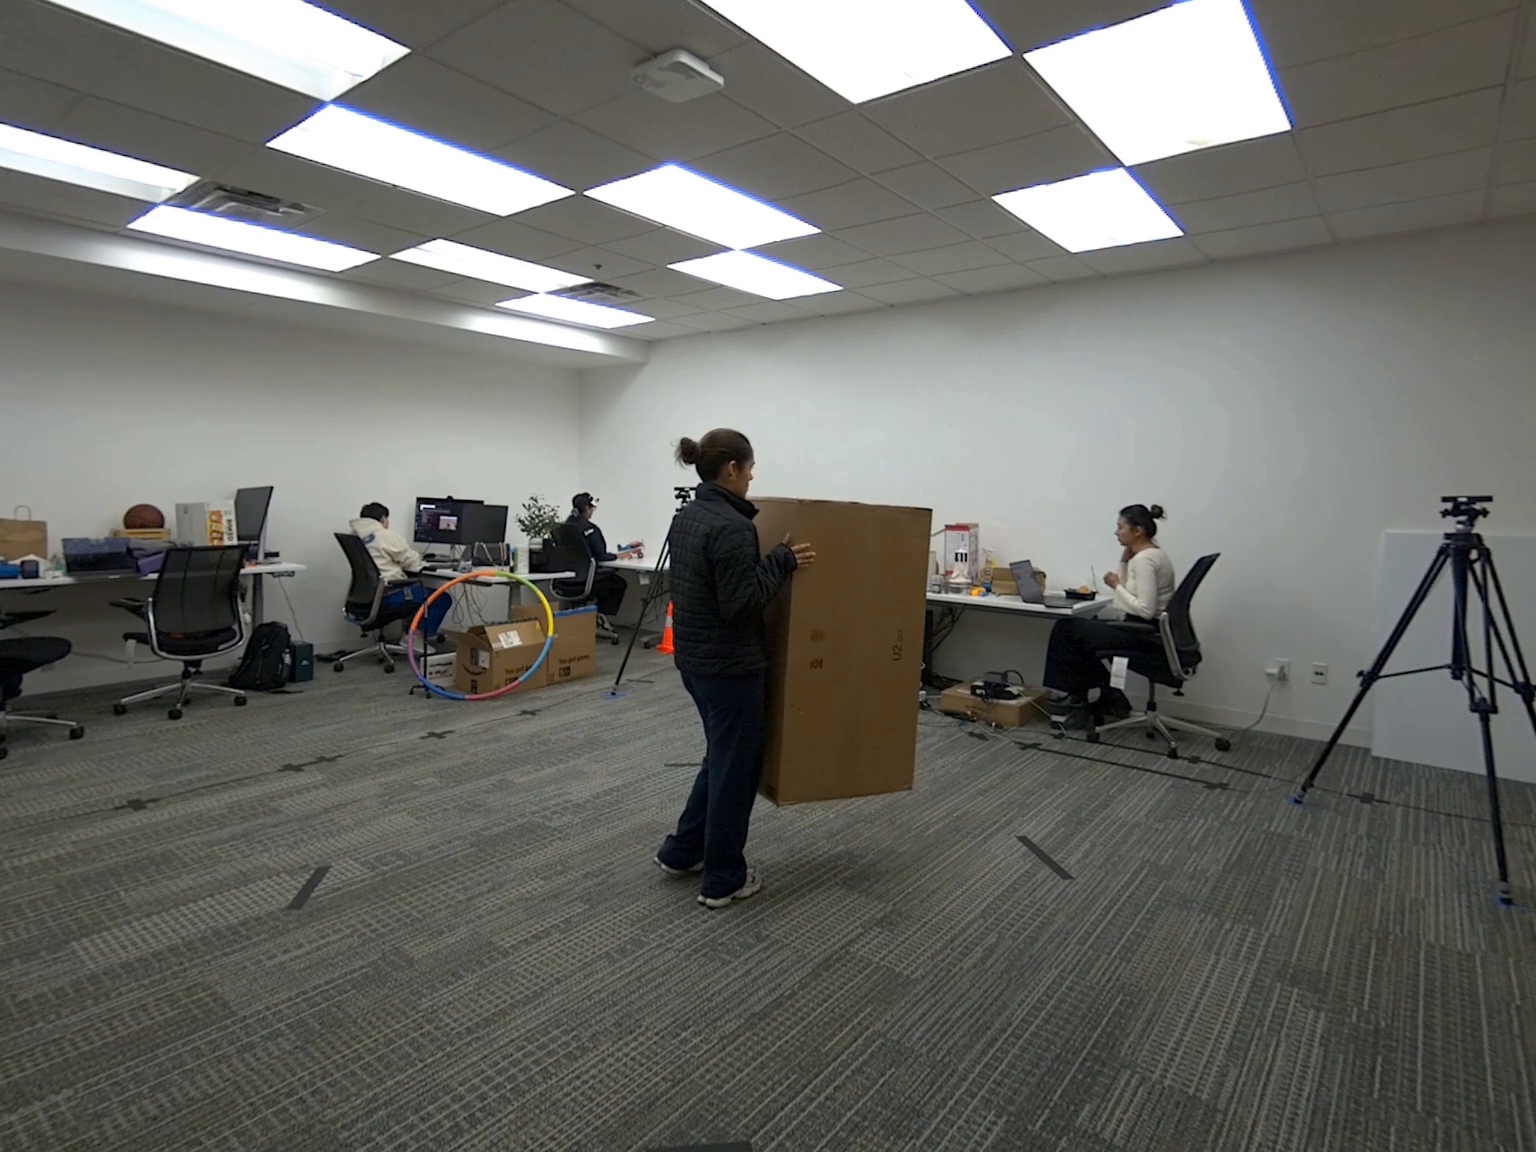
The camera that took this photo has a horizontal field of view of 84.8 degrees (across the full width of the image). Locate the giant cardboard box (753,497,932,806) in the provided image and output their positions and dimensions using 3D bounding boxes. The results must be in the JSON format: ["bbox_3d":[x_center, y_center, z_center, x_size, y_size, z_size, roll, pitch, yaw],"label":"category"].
[{"bbox_3d":[0.217,0.239,3.127,0.562,1.023,0.439,2,3,-27],"label":"giant cardboard box"}]
